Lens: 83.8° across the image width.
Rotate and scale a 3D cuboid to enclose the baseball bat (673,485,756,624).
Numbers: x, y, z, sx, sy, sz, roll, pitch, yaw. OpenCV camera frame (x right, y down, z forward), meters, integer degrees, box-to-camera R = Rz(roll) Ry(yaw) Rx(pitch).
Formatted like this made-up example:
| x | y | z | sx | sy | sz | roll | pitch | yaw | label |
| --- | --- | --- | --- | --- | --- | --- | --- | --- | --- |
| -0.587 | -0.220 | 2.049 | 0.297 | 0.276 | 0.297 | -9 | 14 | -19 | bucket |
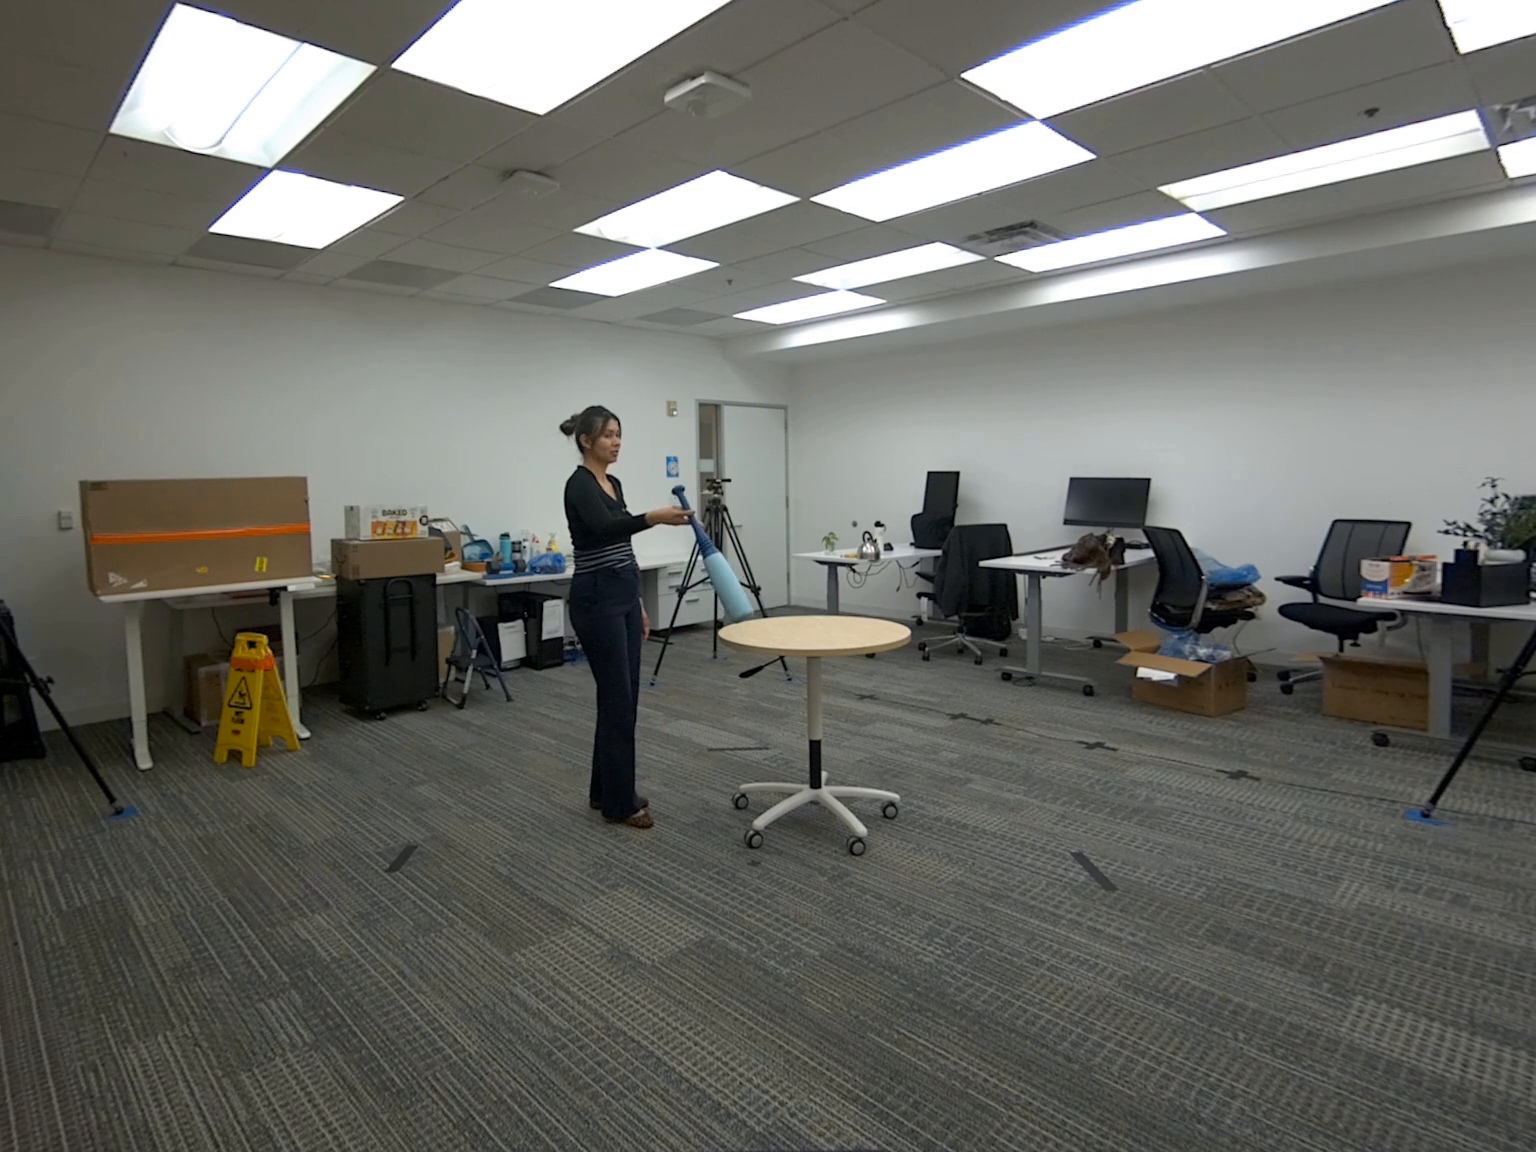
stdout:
| x | y | z | sx | sy | sz | roll | pitch | yaw | label |
| --- | --- | --- | --- | --- | --- | --- | --- | --- | --- |
| -0.217 | -0.090 | 2.998 | 0.089 | 0.553 | 0.088 | -25 | -14 | -8 | baseball bat |
